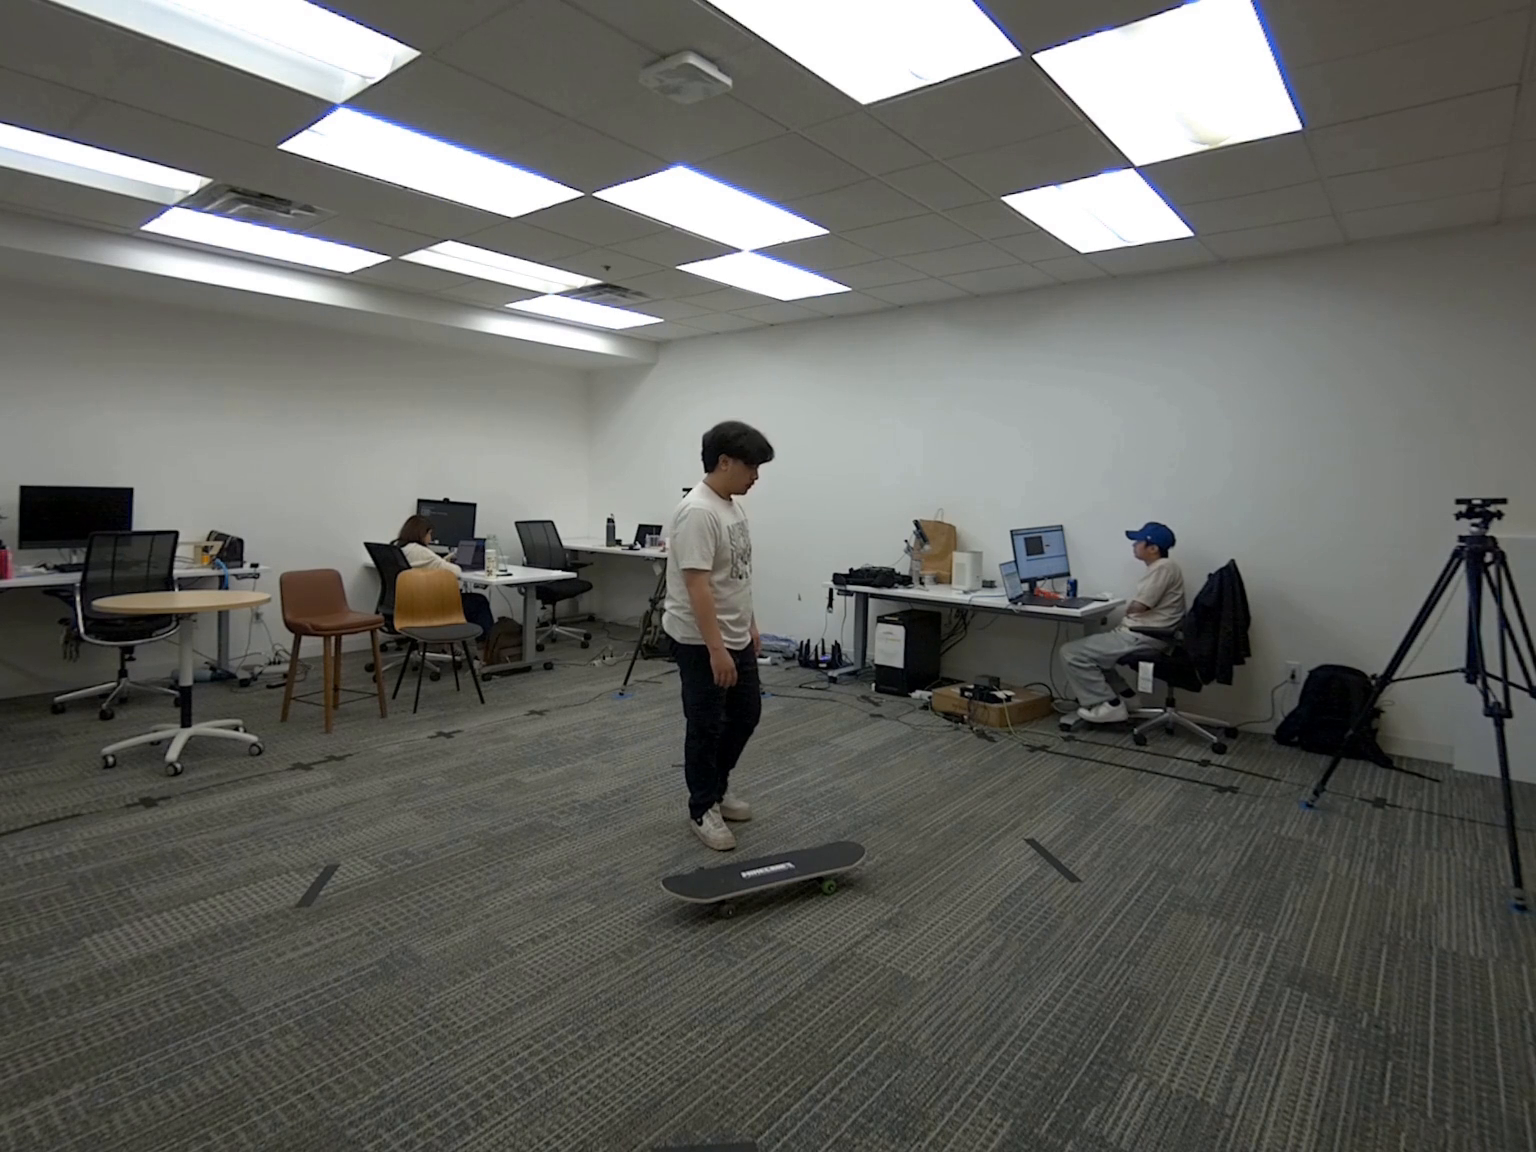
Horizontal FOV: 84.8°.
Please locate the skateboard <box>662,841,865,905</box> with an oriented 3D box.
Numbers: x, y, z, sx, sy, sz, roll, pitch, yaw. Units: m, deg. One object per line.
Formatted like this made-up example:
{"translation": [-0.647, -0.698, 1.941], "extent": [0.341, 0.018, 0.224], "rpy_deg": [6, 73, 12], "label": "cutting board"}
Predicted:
{"translation": [-0.005, 1.037, 2.914], "extent": [0.765, 0.110, 0.199], "rpy_deg": [-2, 6, -28], "label": "skateboard"}
